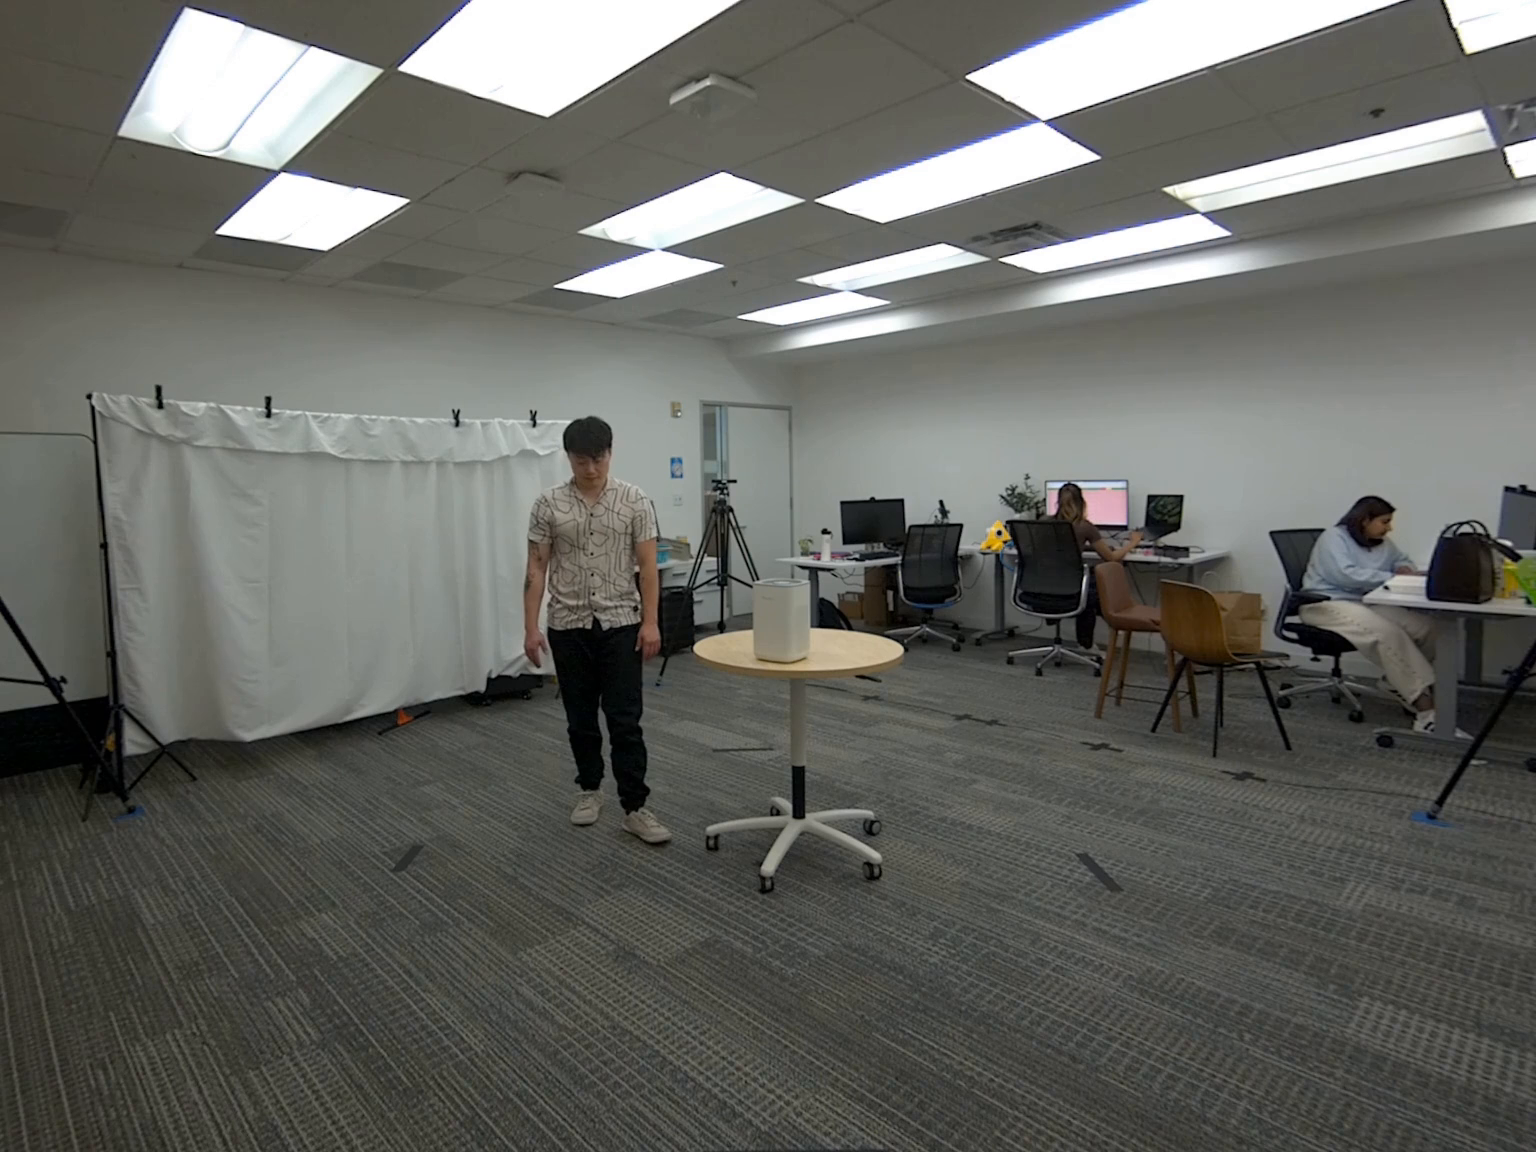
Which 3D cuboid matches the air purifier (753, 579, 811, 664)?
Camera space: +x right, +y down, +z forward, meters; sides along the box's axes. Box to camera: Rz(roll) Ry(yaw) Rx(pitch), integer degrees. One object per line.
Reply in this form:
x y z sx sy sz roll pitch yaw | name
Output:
0.048 0.151 2.934 0.176 0.264 0.167 3 5 32 | air purifier
